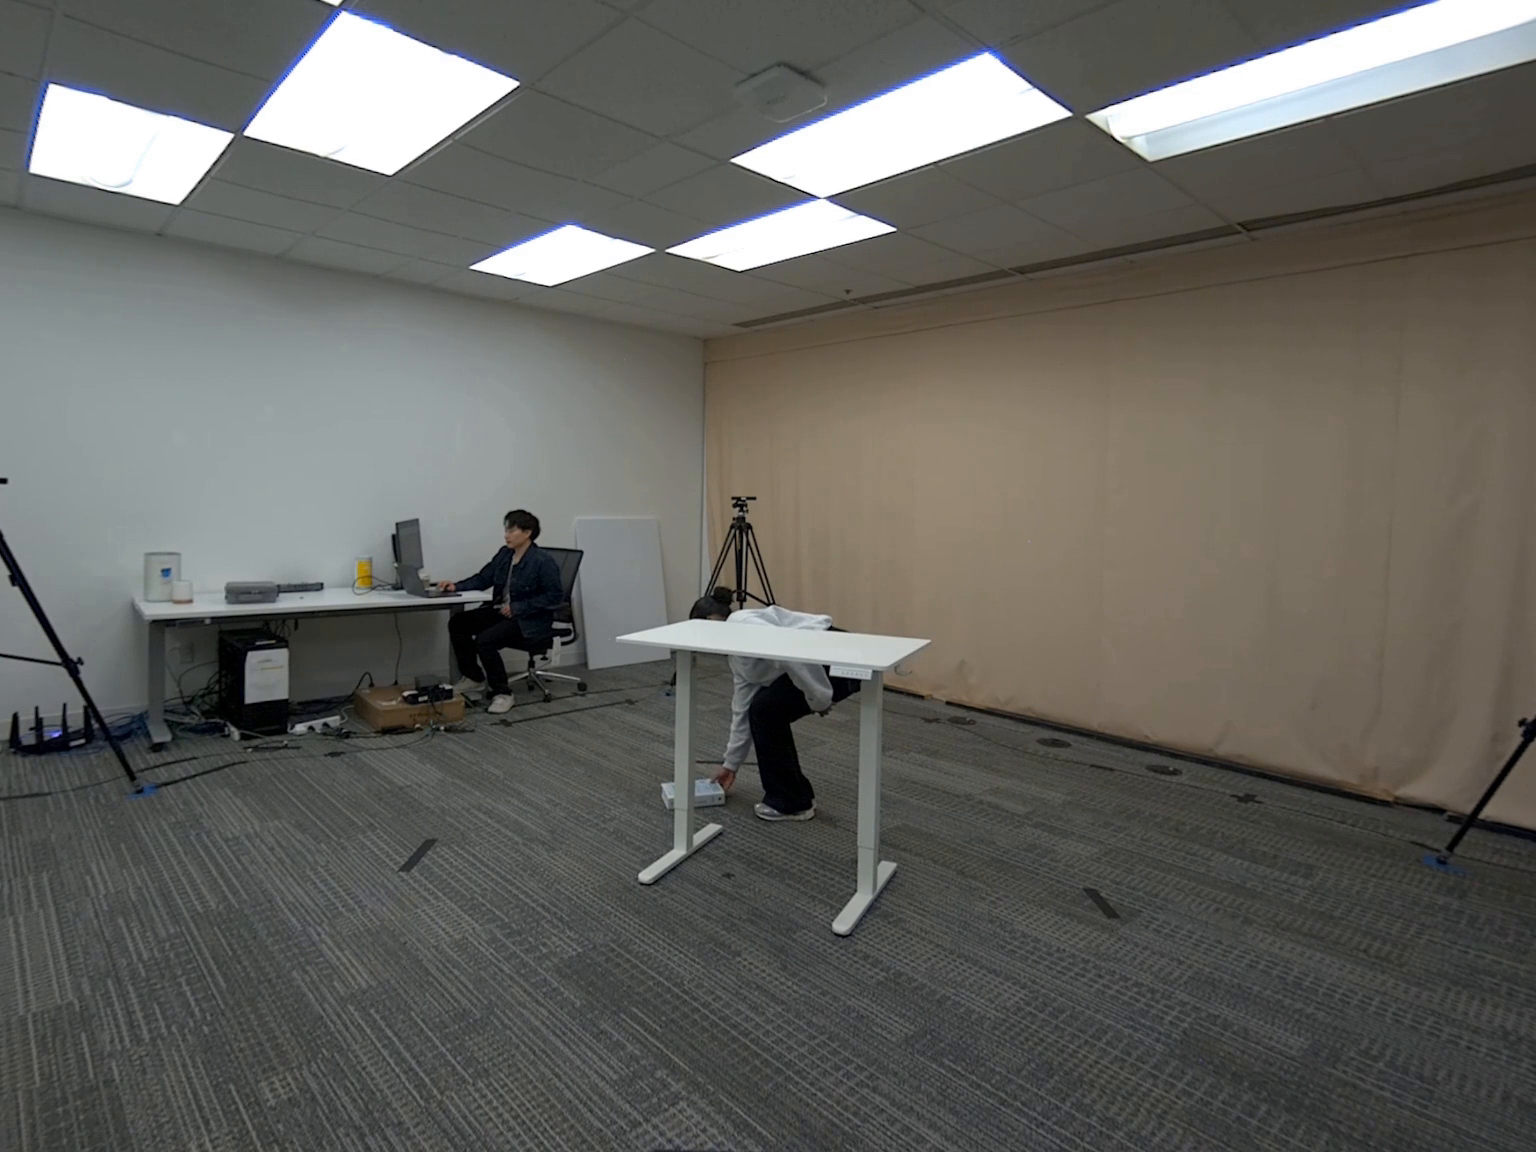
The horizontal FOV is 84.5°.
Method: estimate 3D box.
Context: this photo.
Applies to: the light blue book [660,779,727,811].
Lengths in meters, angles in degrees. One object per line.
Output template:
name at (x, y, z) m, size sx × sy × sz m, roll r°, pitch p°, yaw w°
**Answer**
light blue book at (-0.351, 0.997, 3.865) m, size 0.258 × 0.059 × 0.194 m, roll -2°, pitch 5°, yaw -15°
